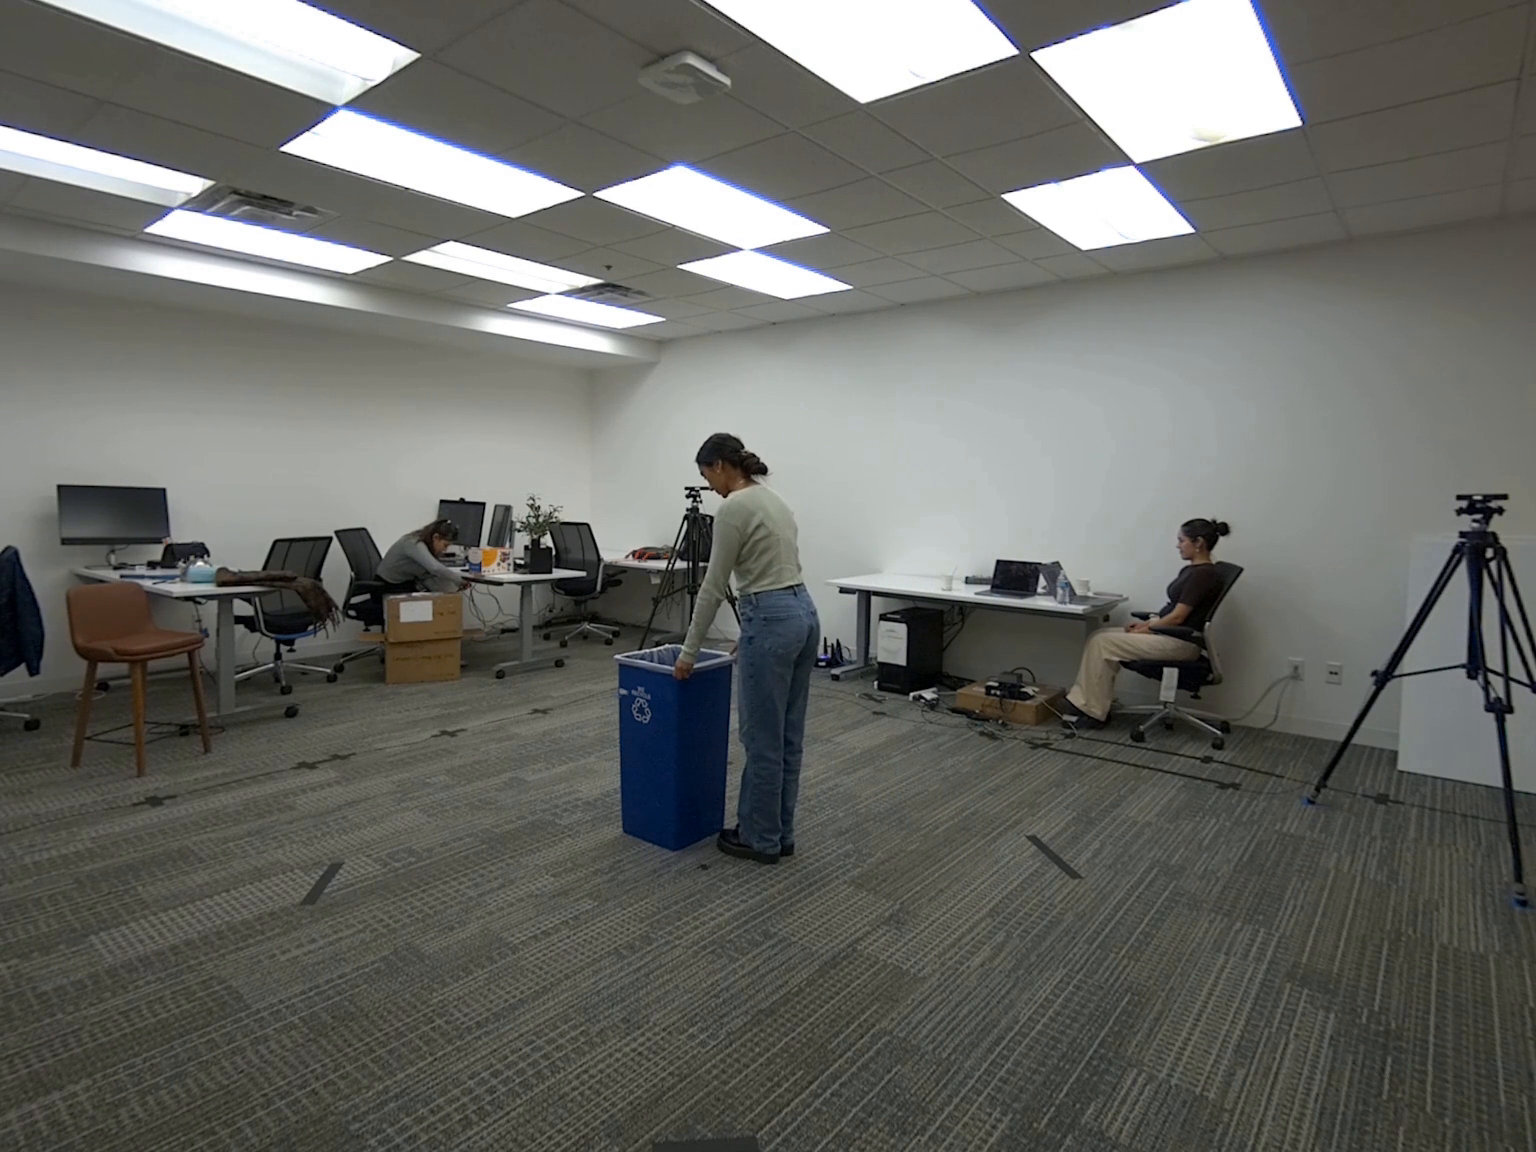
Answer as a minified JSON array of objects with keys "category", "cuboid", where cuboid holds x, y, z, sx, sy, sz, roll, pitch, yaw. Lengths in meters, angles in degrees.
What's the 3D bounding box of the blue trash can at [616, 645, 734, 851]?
[{"category":"blue trash can","cuboid":[-0.380,0.671,3.429,0.386,0.712,0.367,2,4,37]}]
